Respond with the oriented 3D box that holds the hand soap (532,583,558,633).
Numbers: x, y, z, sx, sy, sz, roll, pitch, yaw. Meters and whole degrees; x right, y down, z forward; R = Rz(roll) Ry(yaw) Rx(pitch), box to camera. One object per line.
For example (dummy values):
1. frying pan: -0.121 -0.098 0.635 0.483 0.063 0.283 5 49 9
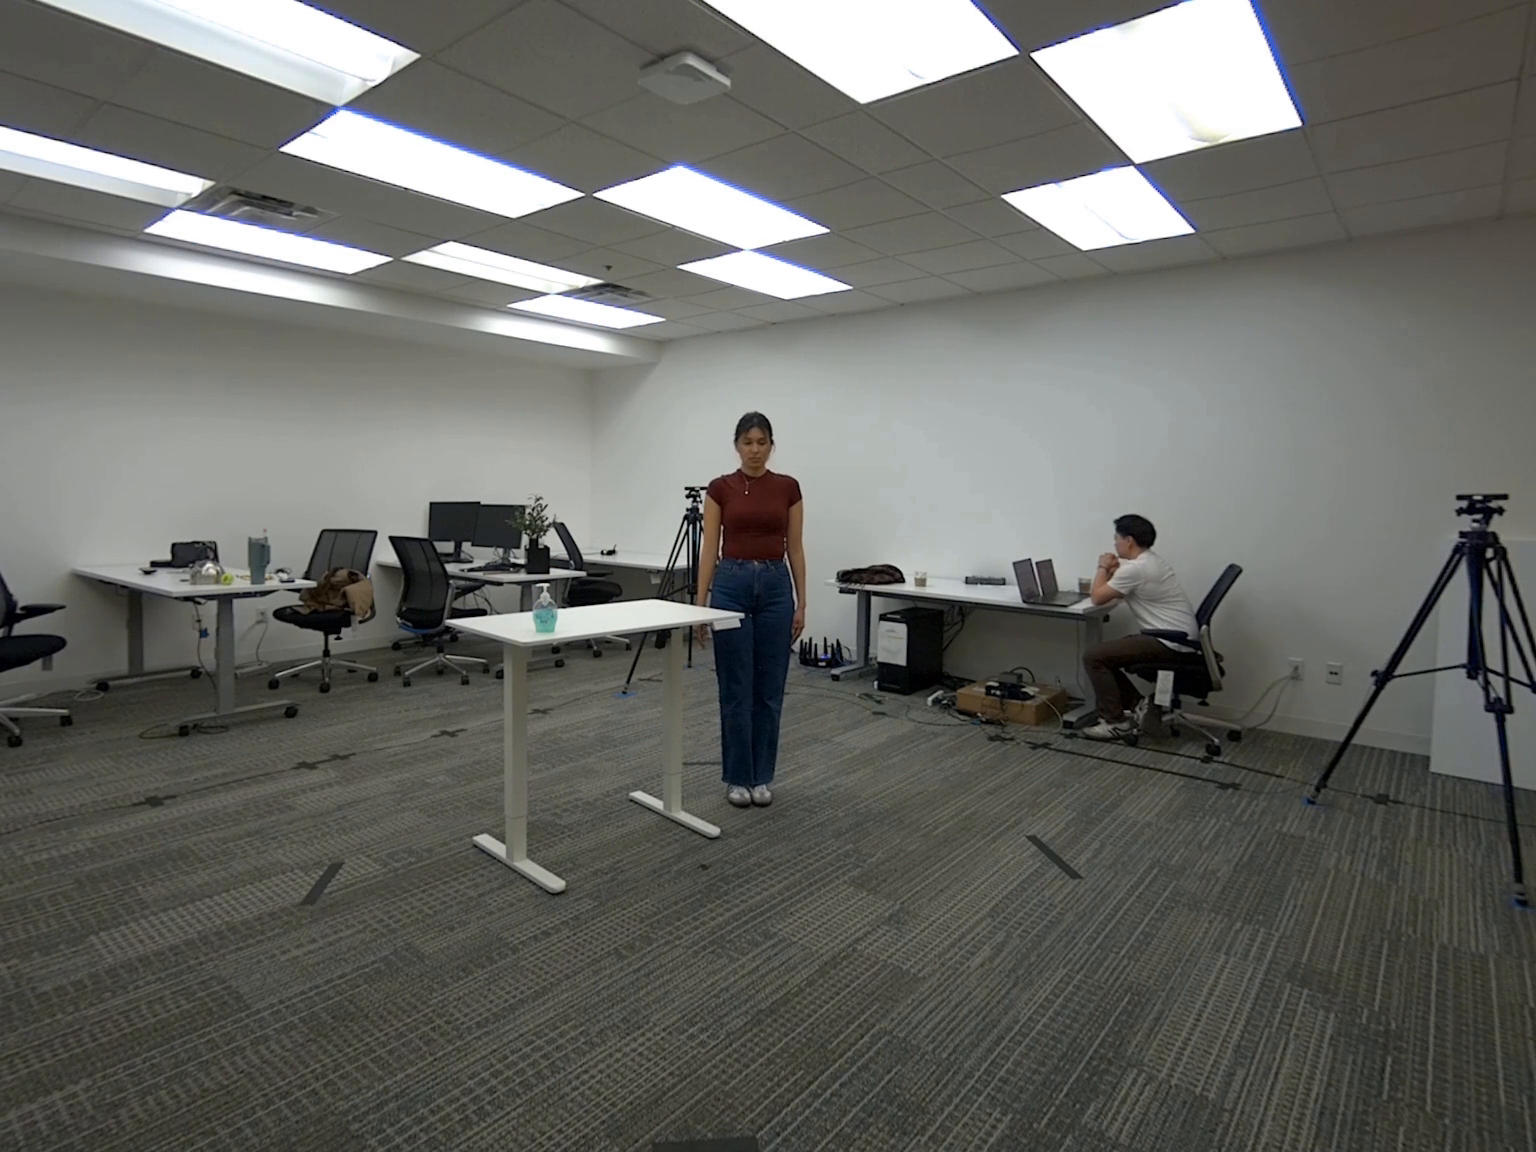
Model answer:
1. hand soap: -0.786 0.108 2.964 0.084 0.167 0.044 0 5 -5
